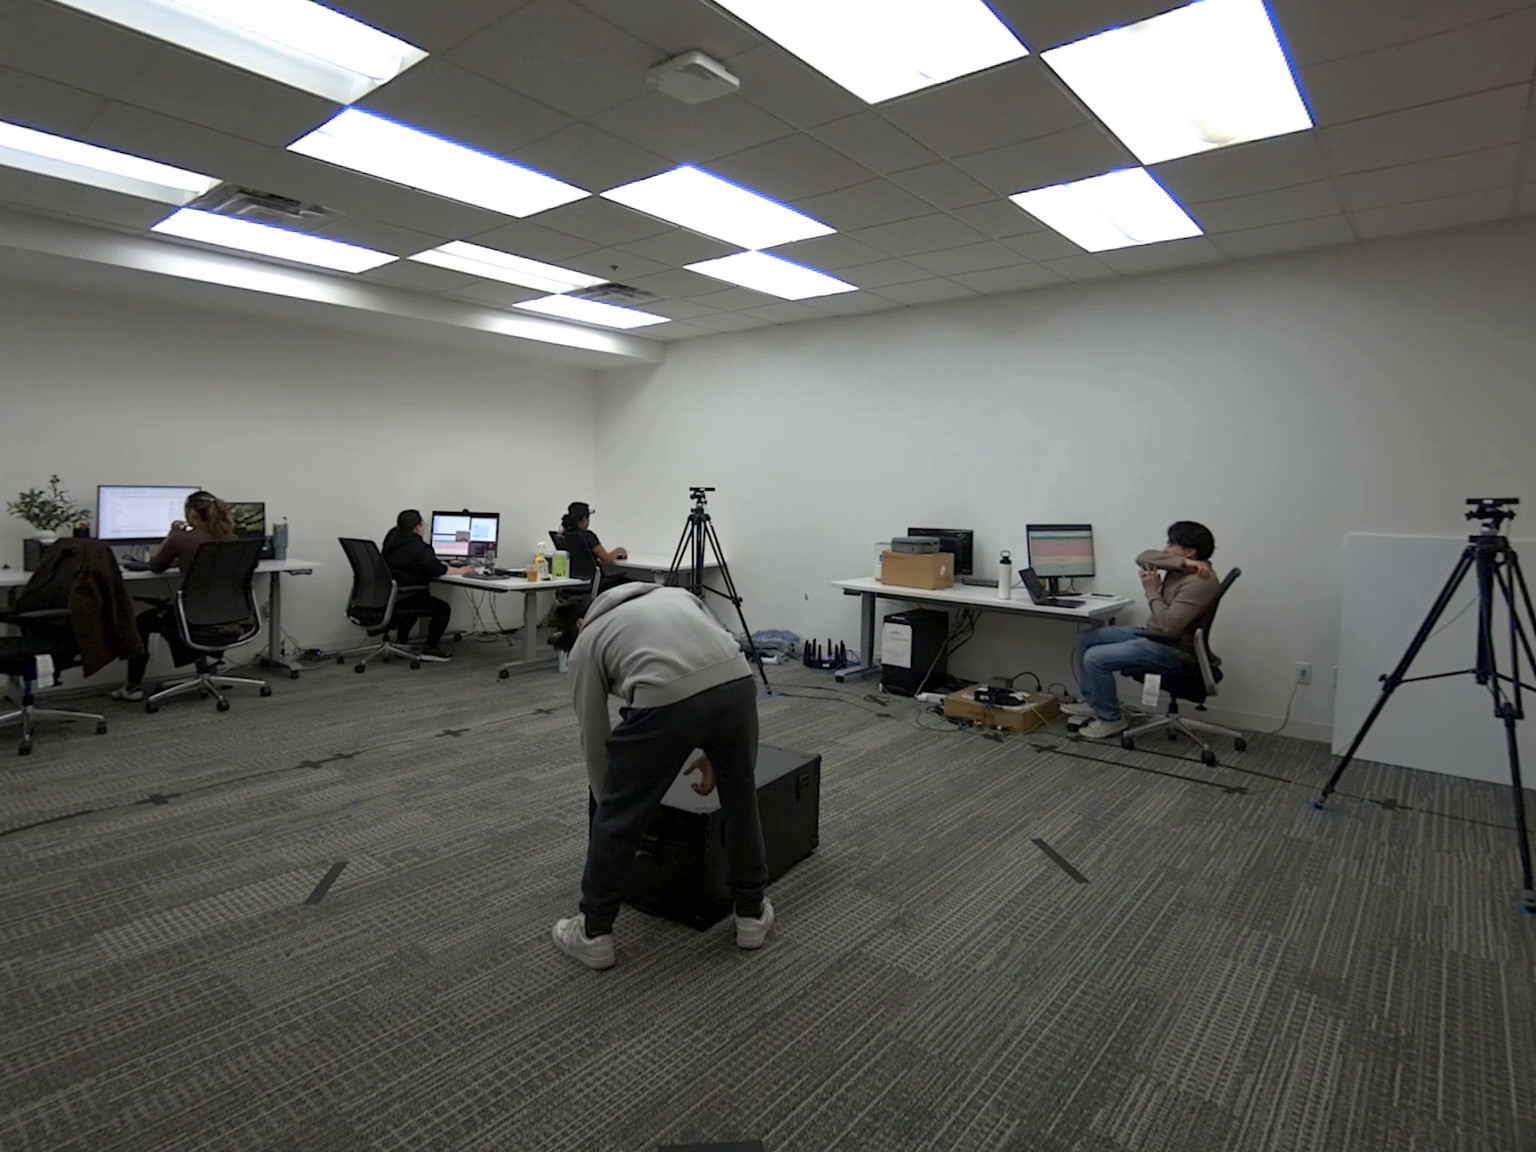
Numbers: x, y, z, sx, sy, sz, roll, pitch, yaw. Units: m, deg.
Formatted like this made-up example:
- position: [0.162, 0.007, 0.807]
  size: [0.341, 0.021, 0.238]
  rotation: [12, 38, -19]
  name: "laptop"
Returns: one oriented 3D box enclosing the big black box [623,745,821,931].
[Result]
- position: [-0.192, 0.880, 3.106]
  size: [0.537, 0.395, 0.839]
  rotation: [3, 6, 31]
  name: "big black box"
